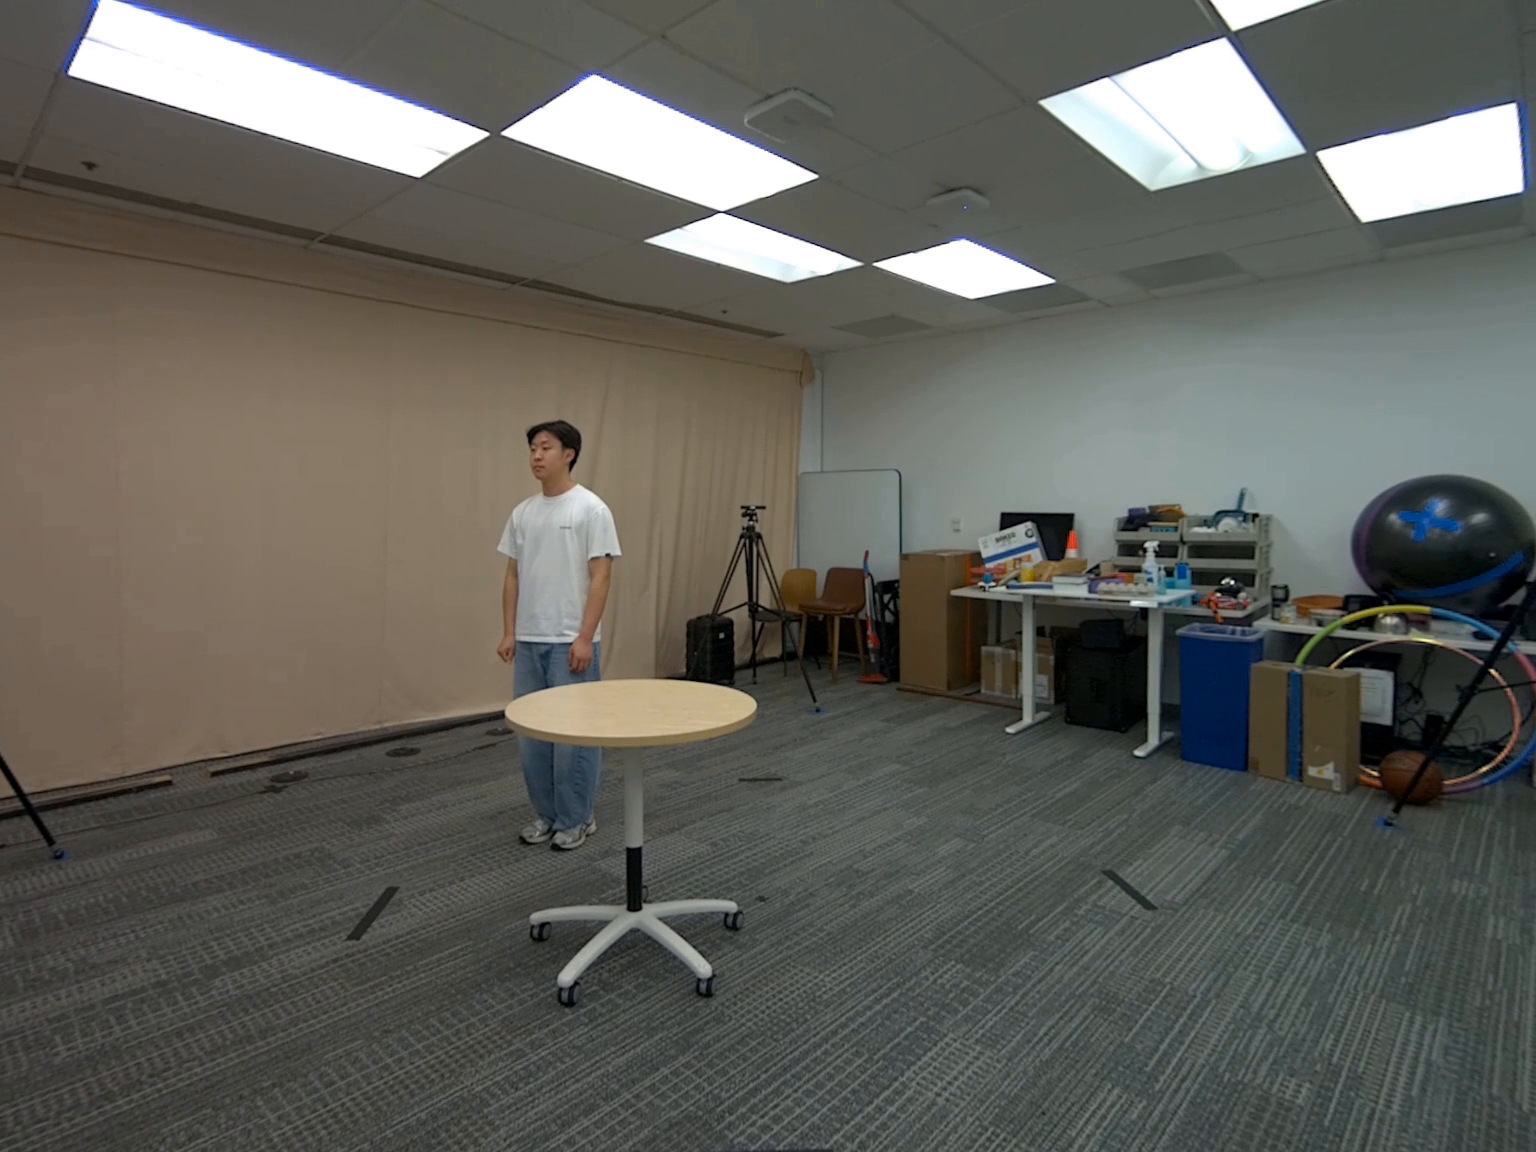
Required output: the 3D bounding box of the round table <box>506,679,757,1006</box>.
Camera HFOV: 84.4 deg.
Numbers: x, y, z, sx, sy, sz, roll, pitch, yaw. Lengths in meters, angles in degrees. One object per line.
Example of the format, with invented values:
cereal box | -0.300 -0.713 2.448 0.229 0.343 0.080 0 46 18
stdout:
round table | -0.406 0.790 2.609 0.763 0.792 0.767 0 4 -2
